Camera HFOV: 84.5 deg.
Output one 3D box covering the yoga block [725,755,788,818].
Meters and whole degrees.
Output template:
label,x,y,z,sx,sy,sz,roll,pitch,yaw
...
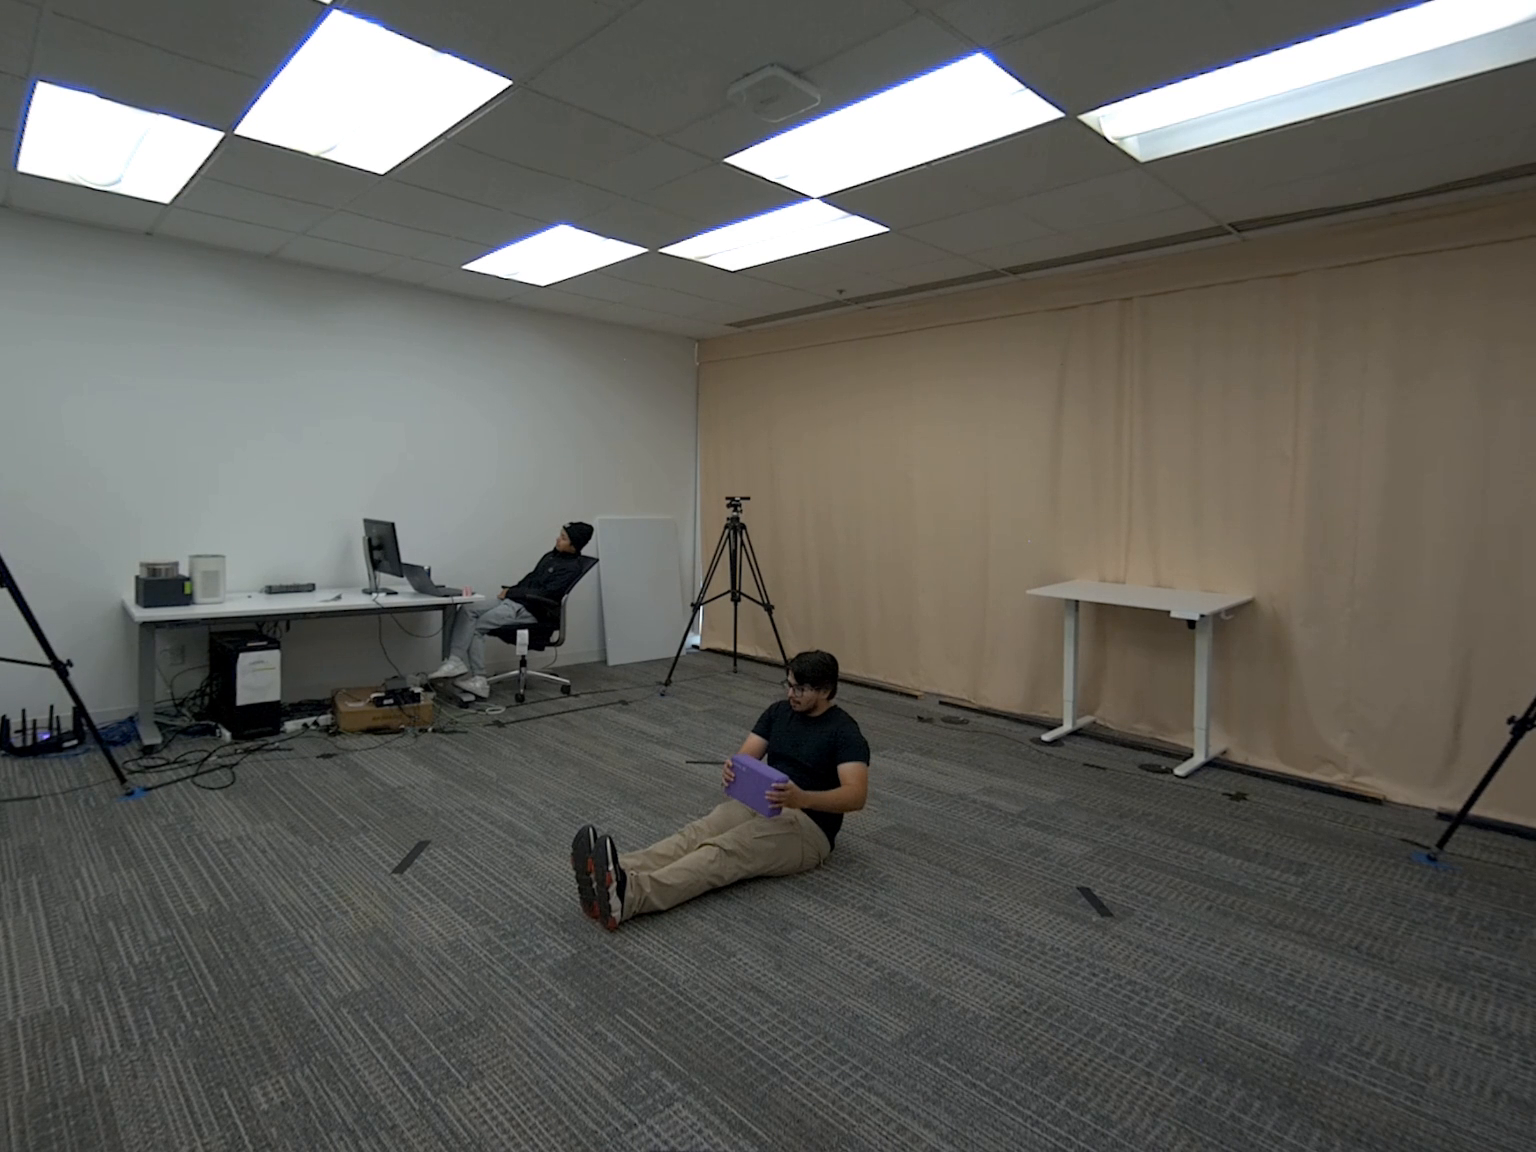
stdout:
label,x,y,z,sx,sy,sz,roll,pitch,yaw
yoga block,-0.049,0.755,3.042,0.074,0.148,0.236,3,10,-45
